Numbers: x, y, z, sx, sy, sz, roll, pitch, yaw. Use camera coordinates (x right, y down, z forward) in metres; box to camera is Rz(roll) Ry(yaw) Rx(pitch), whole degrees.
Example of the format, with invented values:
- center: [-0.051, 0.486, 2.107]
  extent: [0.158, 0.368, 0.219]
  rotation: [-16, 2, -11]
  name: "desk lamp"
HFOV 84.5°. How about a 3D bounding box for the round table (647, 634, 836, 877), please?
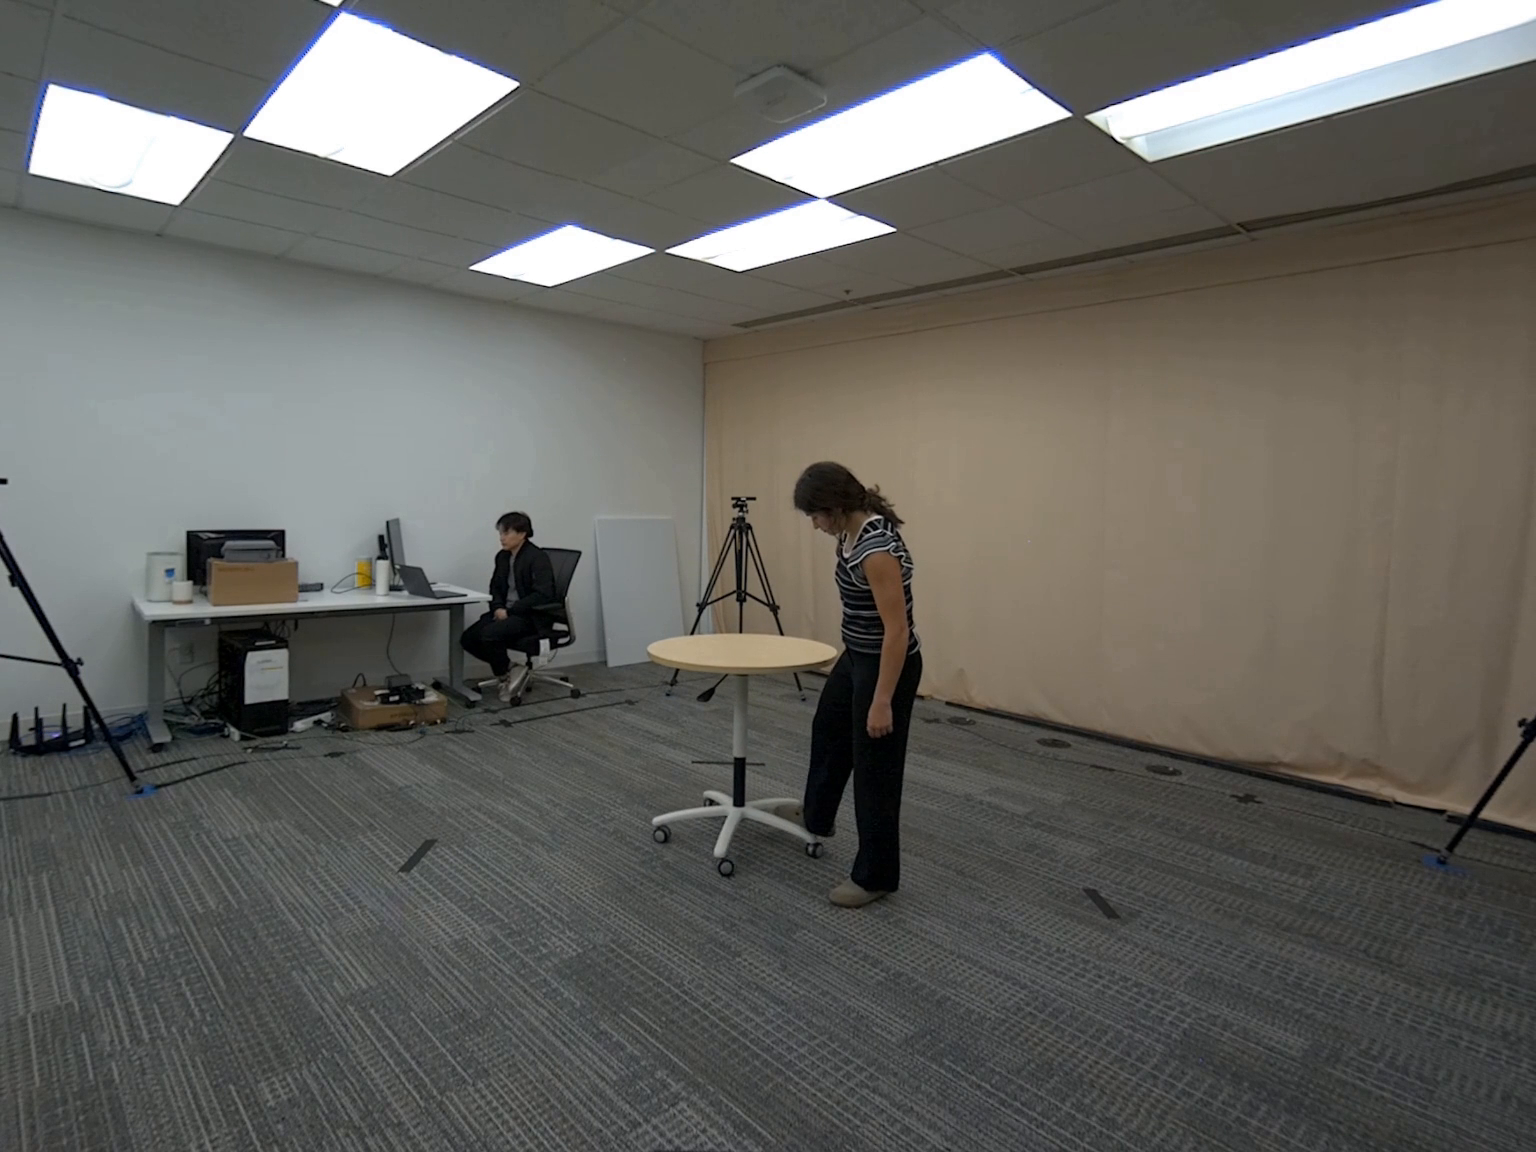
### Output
- center: [-0.108, 0.686, 3.434]
  extent: [0.784, 0.784, 0.788]
  rotation: [1, 4, -1]
  name: "round table"
